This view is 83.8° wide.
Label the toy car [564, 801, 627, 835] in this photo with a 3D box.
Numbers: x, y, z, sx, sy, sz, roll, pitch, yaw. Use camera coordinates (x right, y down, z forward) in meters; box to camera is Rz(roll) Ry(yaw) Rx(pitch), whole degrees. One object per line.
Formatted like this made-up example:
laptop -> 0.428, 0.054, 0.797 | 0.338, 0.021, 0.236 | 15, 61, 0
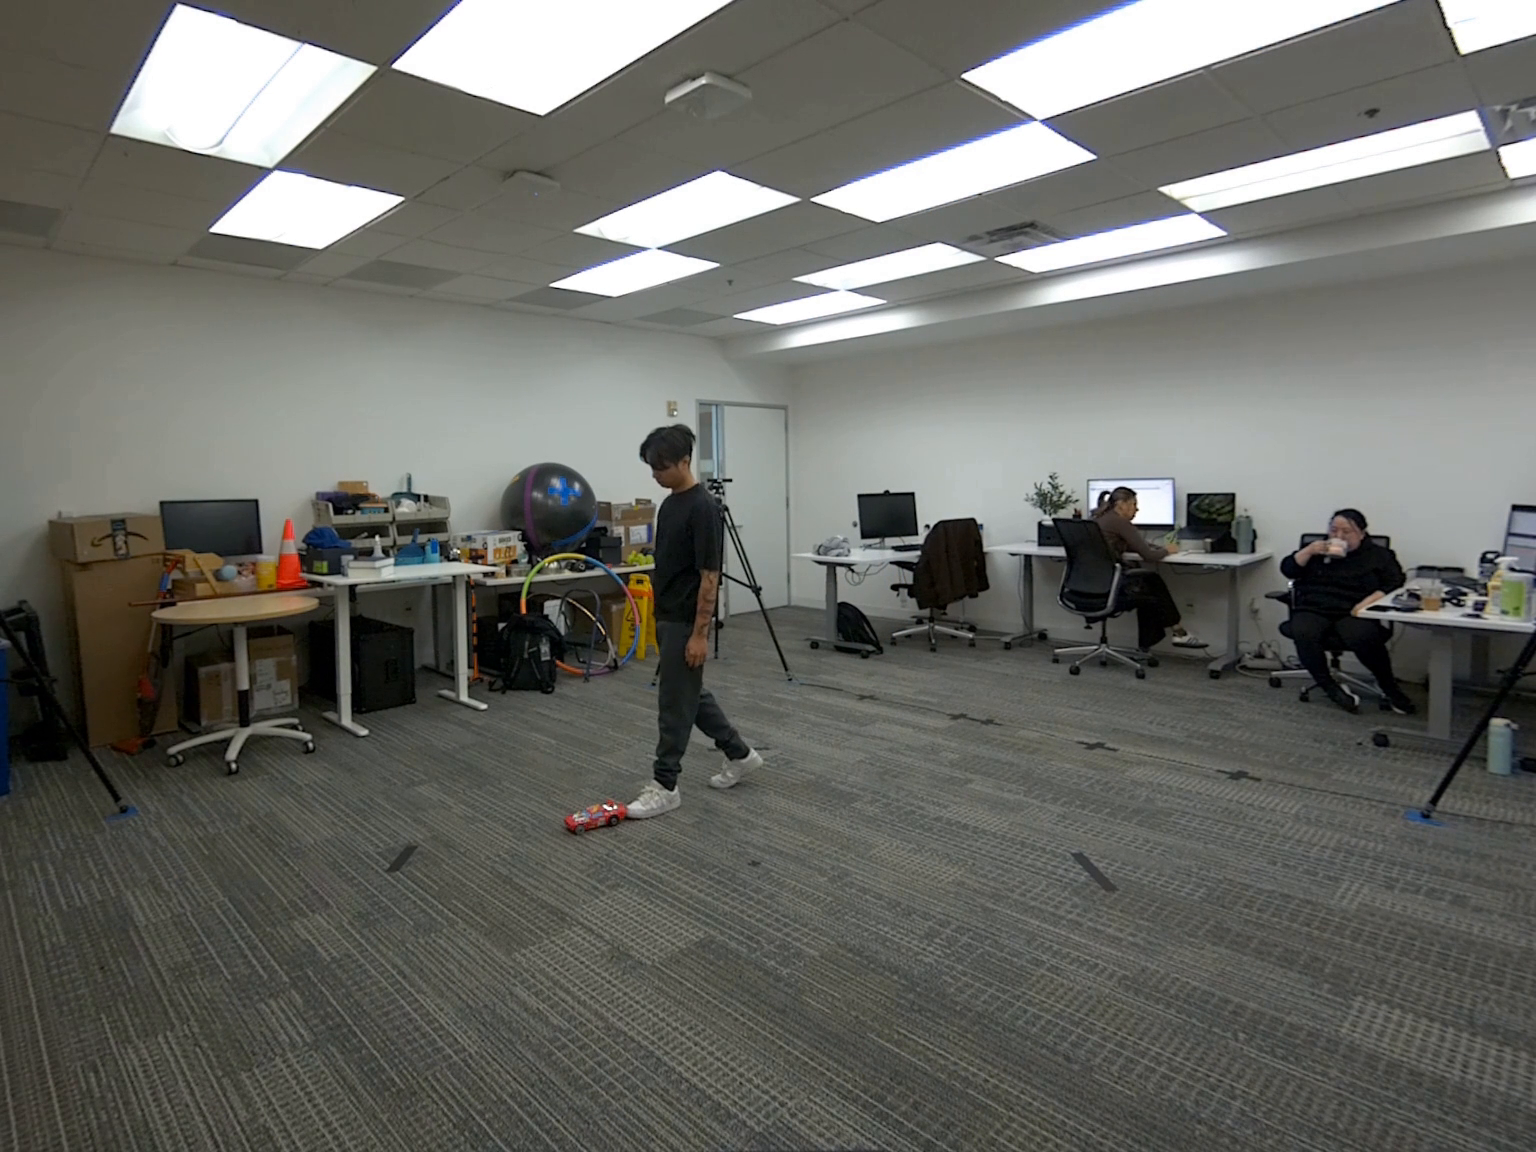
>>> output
toy car -> -0.695, 0.982, 3.481 | 0.250, 0.082, 0.134 | -18, 13, -29
